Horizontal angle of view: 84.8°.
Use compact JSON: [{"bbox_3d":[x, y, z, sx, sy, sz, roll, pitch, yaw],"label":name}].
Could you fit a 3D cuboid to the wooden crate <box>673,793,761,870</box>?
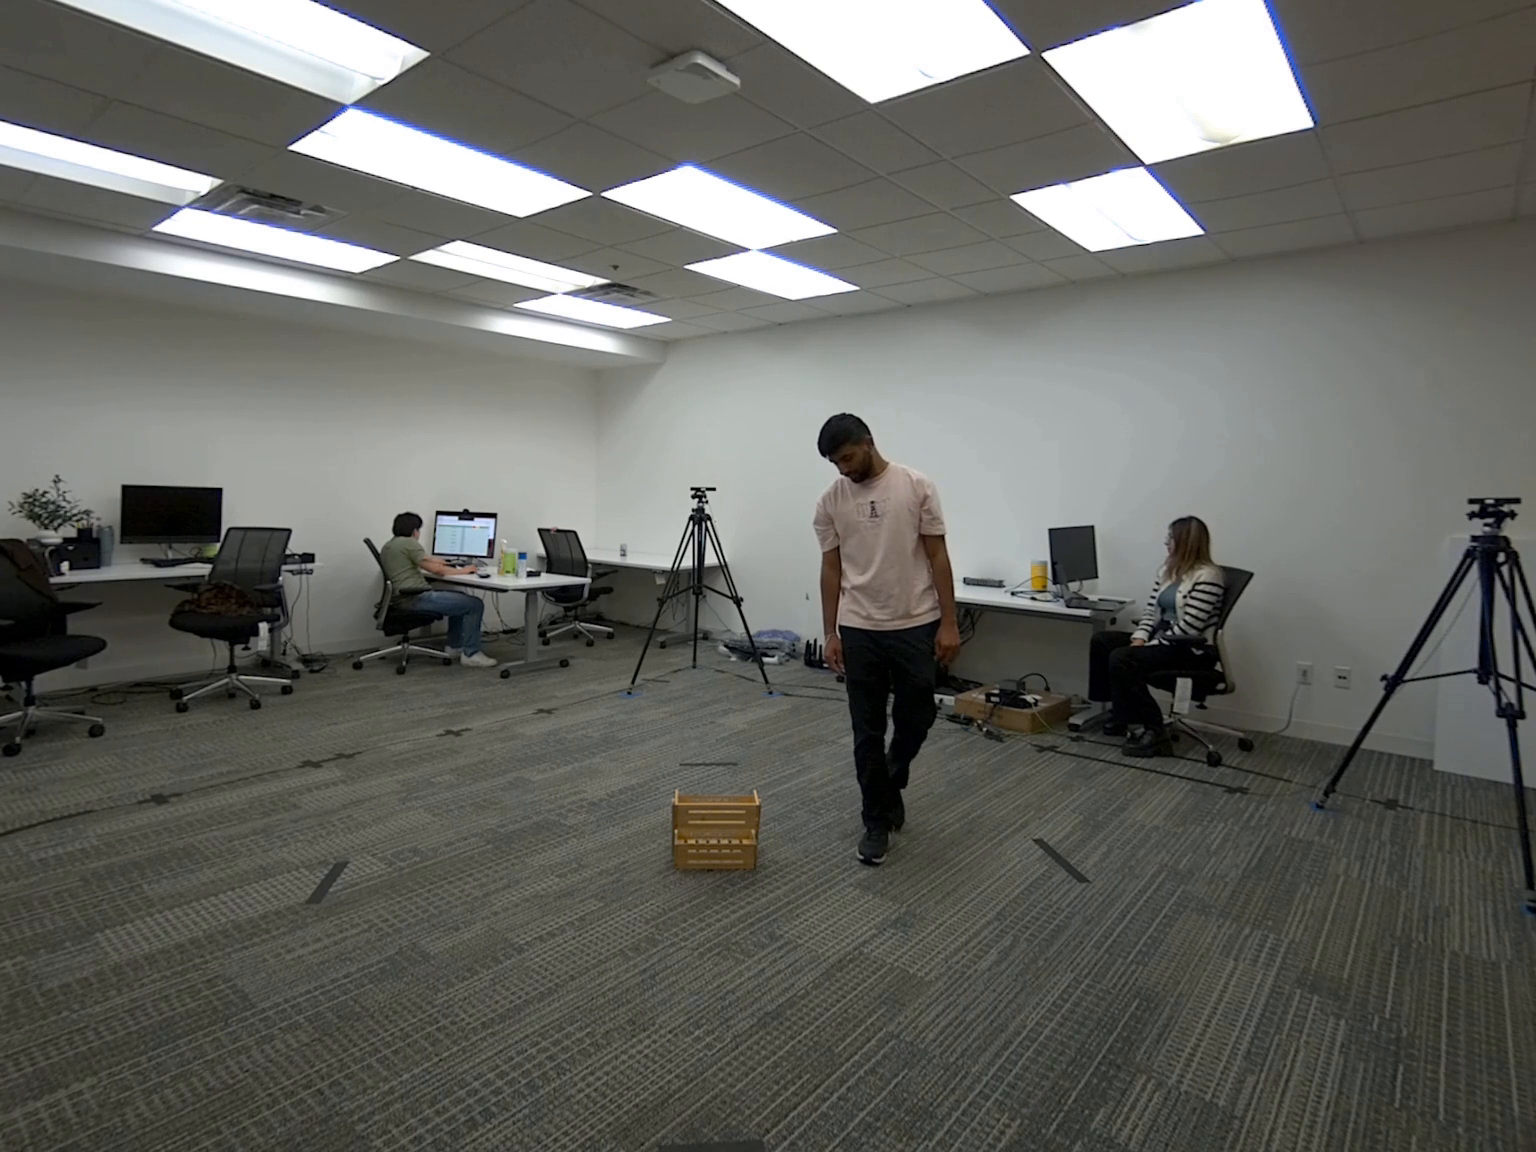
[{"bbox_3d":[-0.212,0.926,3.199,0.323,0.273,0.304,0,3,-6],"label":"wooden crate"}]
